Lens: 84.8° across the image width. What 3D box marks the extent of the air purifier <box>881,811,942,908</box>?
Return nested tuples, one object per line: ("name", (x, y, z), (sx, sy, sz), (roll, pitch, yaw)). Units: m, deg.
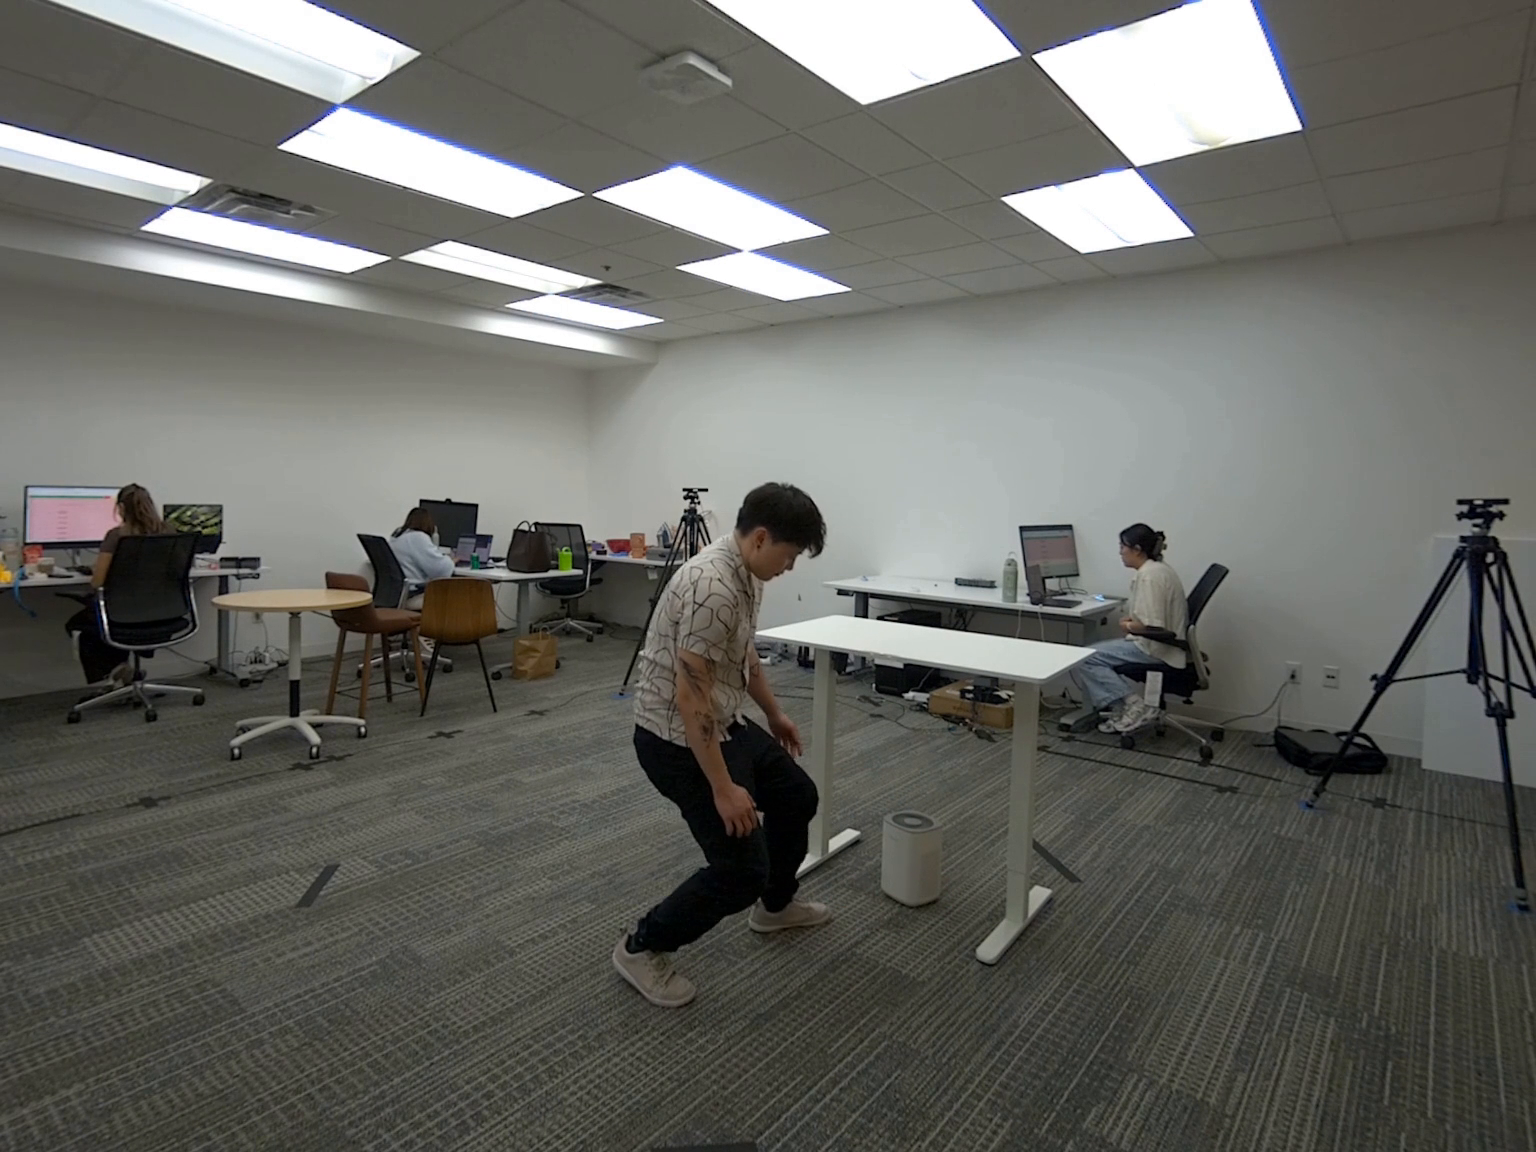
("air purifier", (0.490, 0.974, 2.930), (0.166, 0.264, 0.177), (-1, 5, -37))
